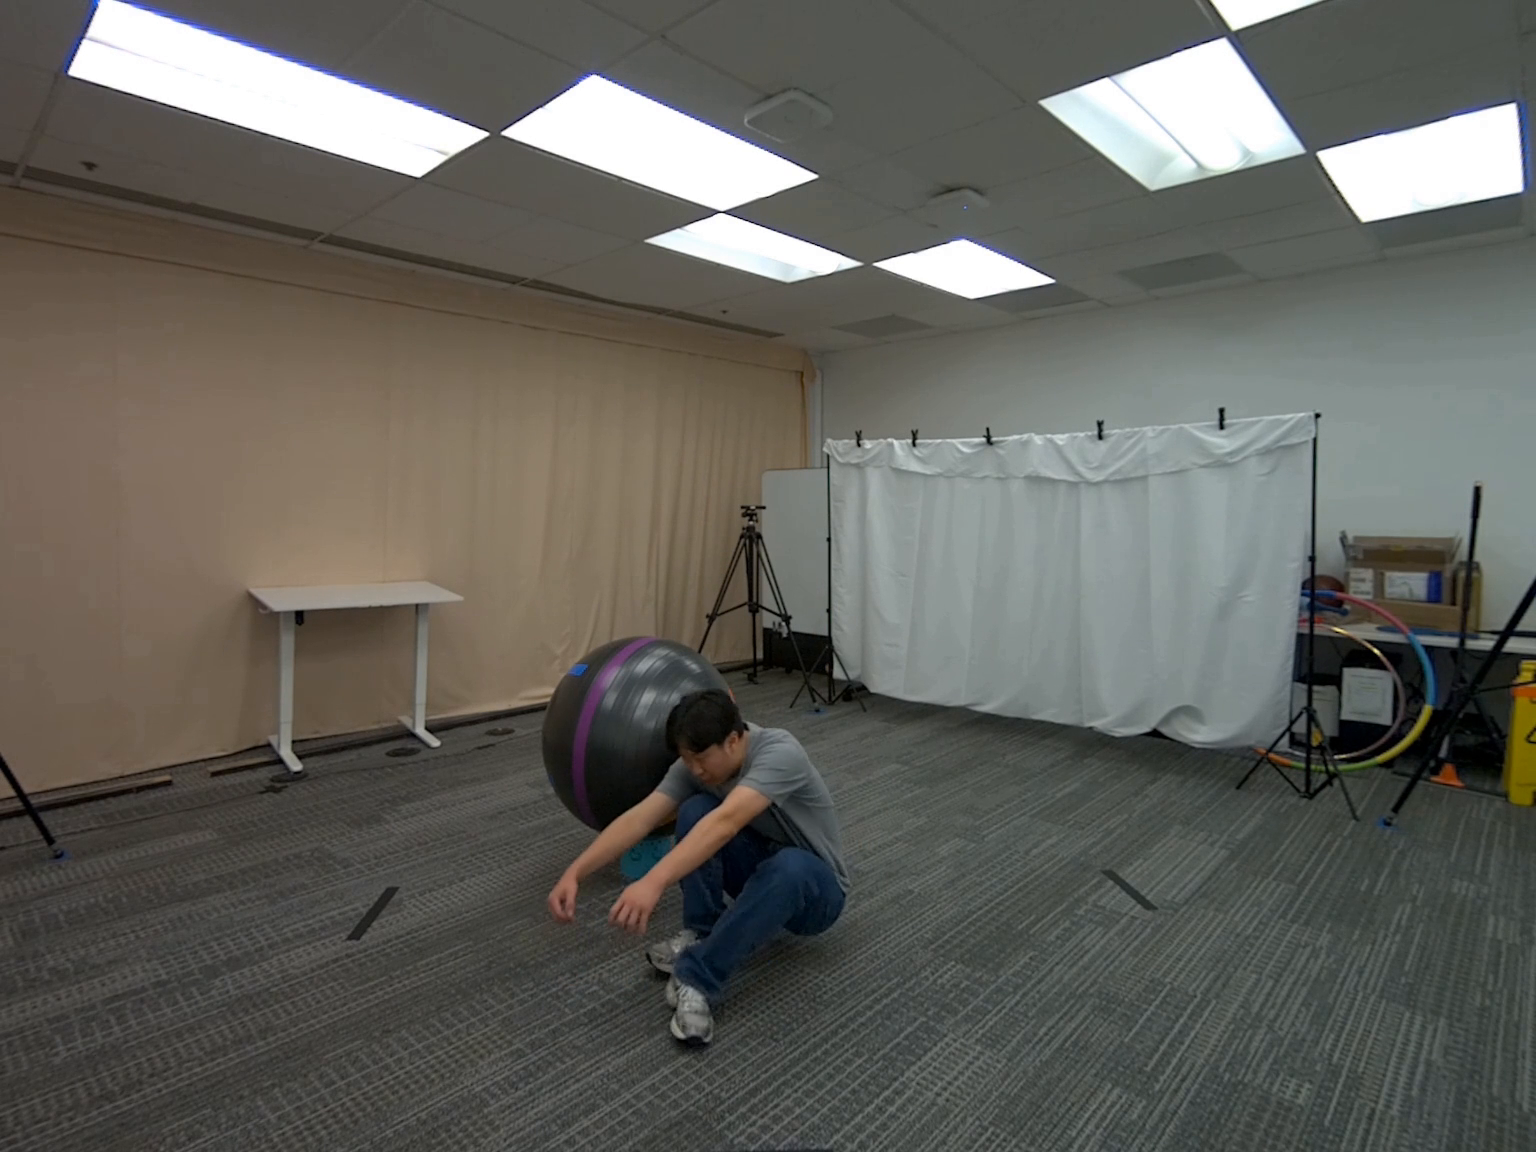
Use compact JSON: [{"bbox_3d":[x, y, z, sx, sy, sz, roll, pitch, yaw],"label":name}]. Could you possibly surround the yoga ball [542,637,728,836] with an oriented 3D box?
[{"bbox_3d":[-0.475,0.615,3.227,0.757,0.756,0.760,0,4,-2],"label":"yoga ball"}]
